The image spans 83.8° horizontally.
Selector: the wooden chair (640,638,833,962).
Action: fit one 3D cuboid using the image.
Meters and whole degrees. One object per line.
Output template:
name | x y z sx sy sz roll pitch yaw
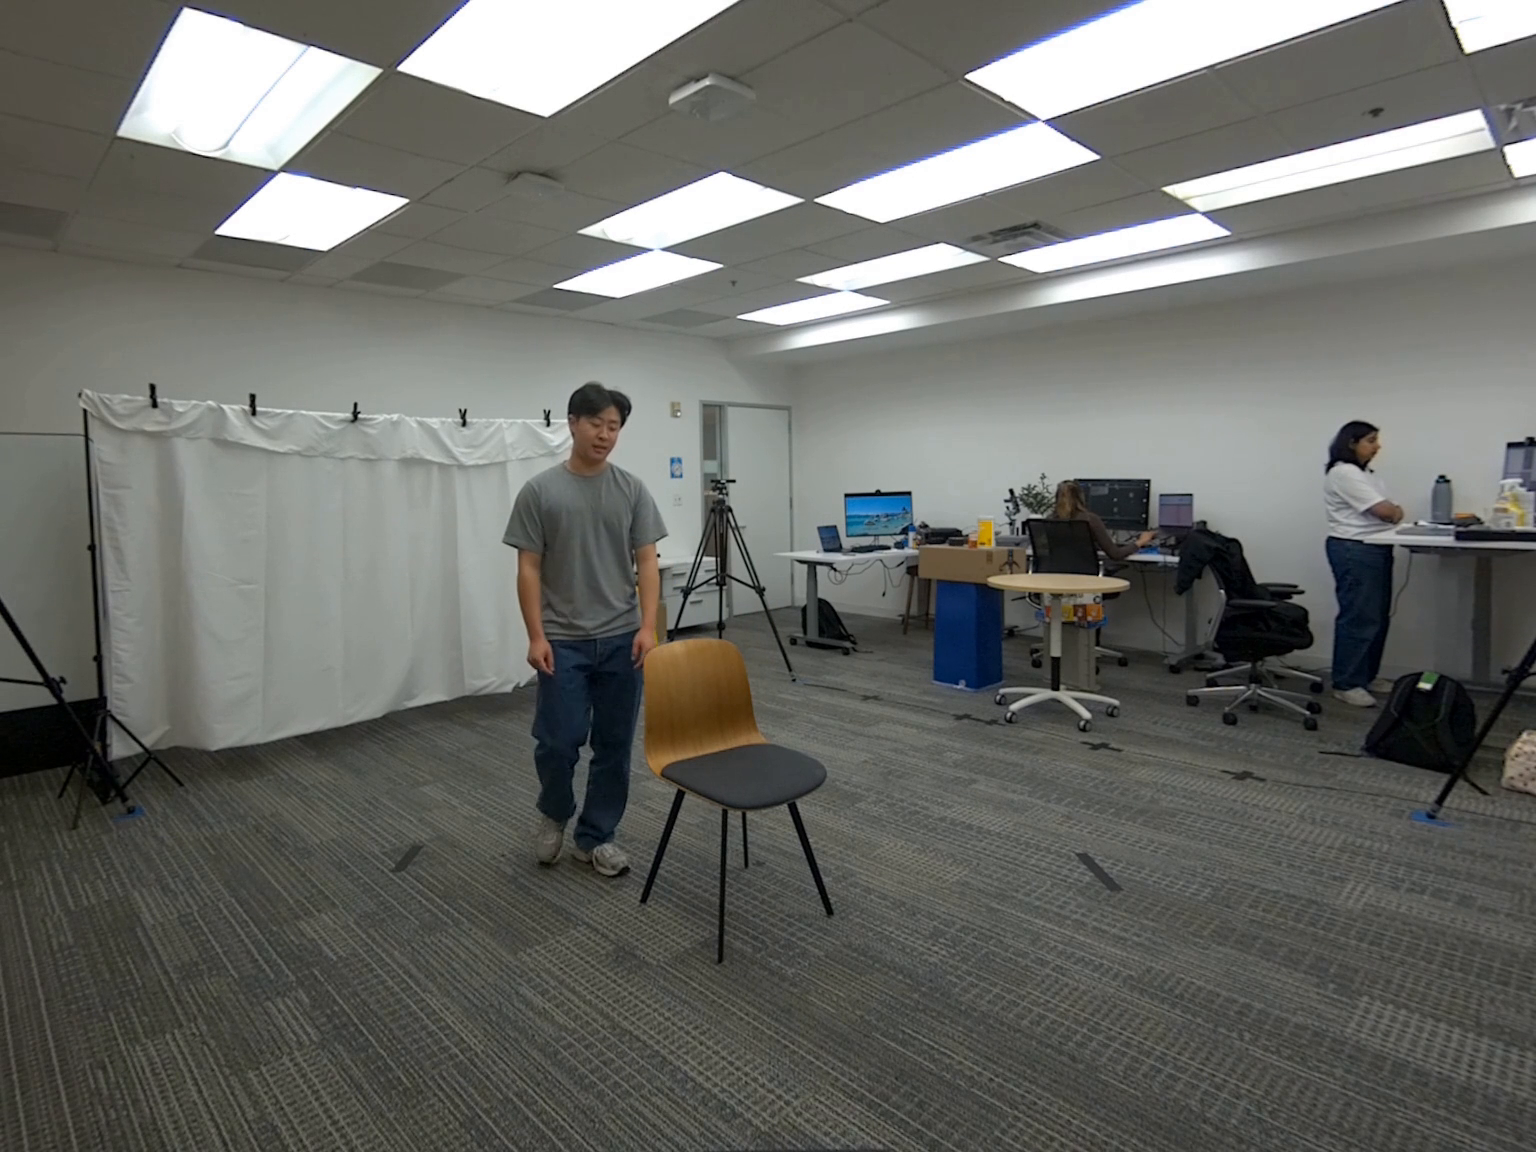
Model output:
wooden chair | -0.108 0.664 2.741 0.466 0.877 0.537 -4 0 -37
